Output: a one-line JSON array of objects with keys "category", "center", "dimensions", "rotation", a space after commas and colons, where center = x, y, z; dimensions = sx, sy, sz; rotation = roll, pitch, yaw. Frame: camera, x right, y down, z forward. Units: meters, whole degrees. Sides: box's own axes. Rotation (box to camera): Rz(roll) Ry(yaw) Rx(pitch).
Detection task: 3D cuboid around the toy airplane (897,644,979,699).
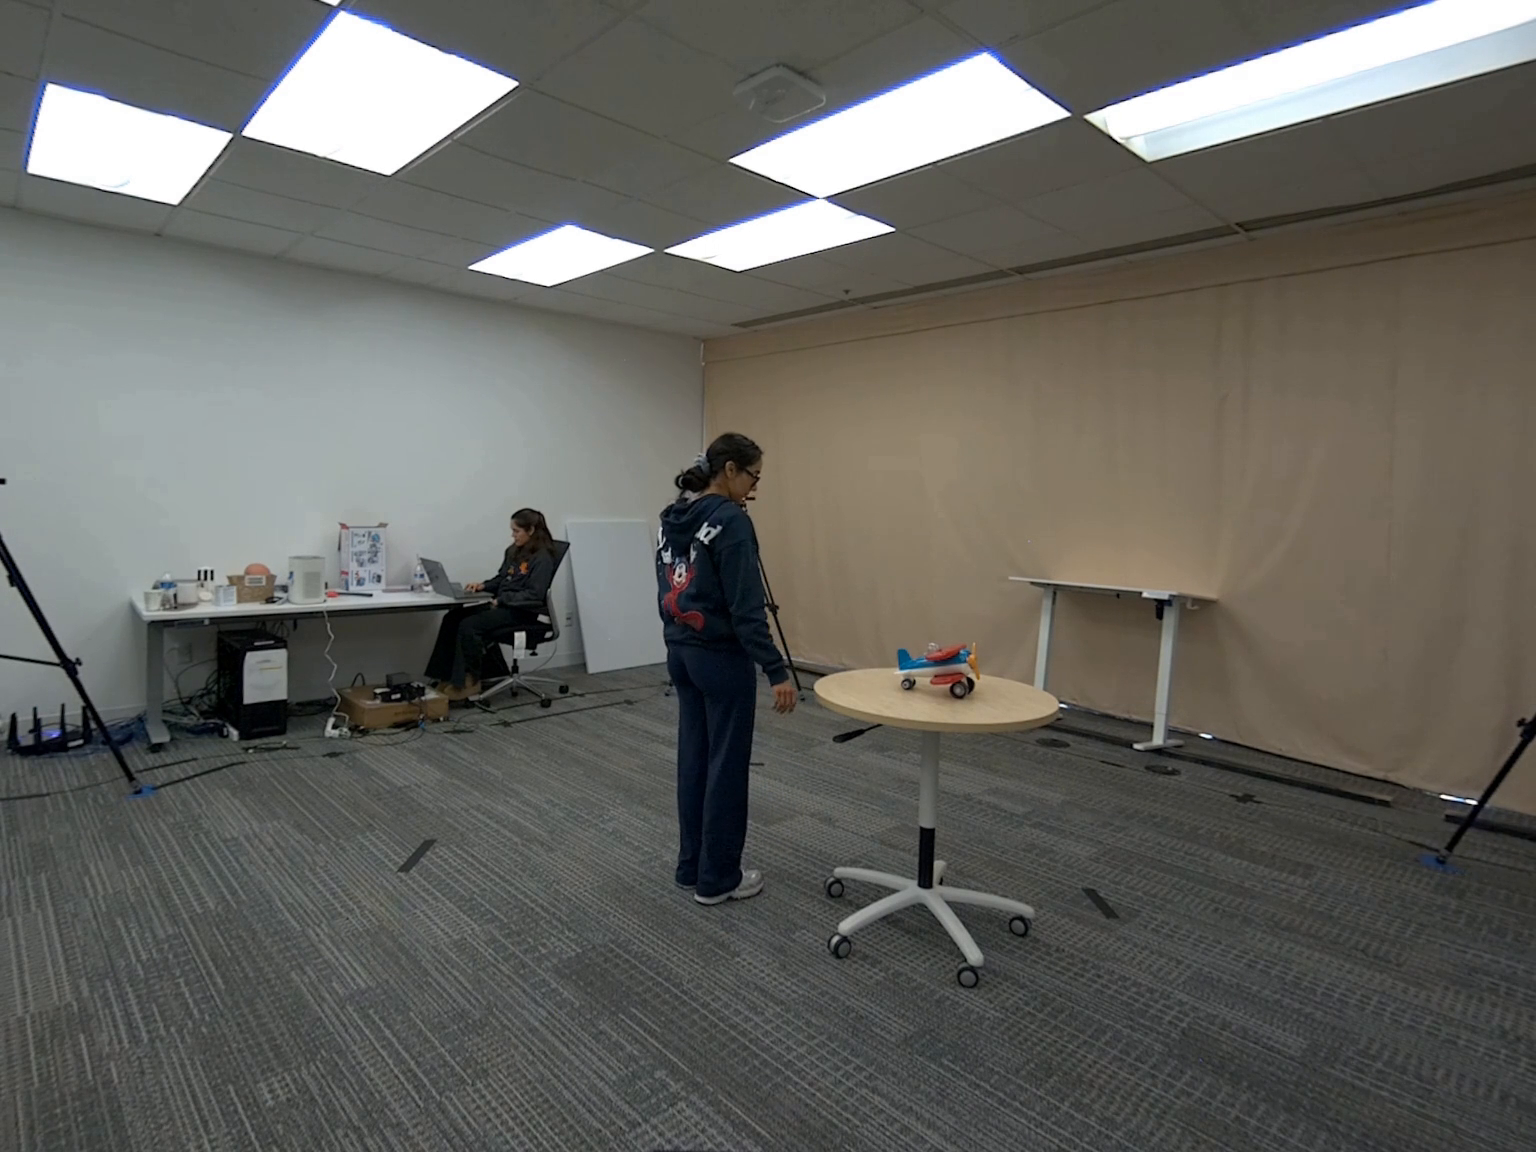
[{"category": "toy airplane", "center": [0.534, 0.298, 2.694], "dimensions": [0.259, 0.156, 0.252], "rotation": [2, 5, 0]}]
